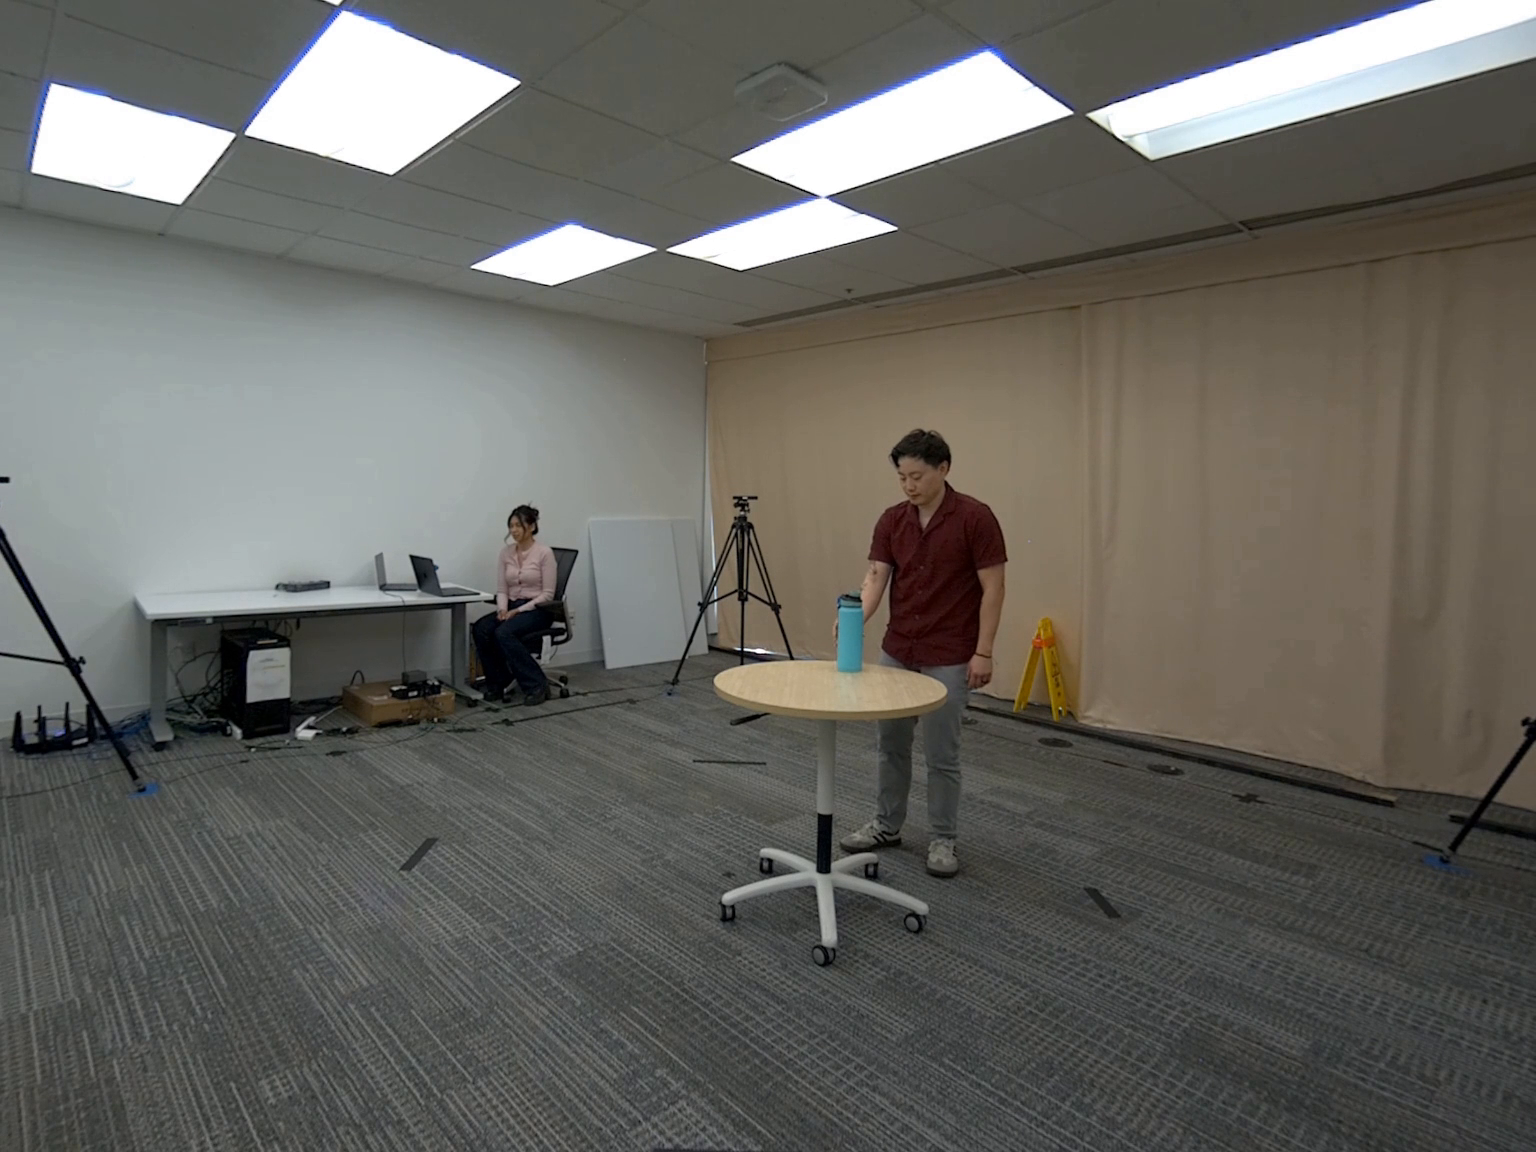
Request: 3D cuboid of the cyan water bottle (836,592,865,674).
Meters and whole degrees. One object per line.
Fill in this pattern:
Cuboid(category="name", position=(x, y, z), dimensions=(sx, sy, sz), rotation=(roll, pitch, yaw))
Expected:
Cuboid(category="cyan water bottle", position=(0.293, 0.200, 3.005), dimensions=(0.092, 0.283, 0.092), rotation=(0, 3, -1))
